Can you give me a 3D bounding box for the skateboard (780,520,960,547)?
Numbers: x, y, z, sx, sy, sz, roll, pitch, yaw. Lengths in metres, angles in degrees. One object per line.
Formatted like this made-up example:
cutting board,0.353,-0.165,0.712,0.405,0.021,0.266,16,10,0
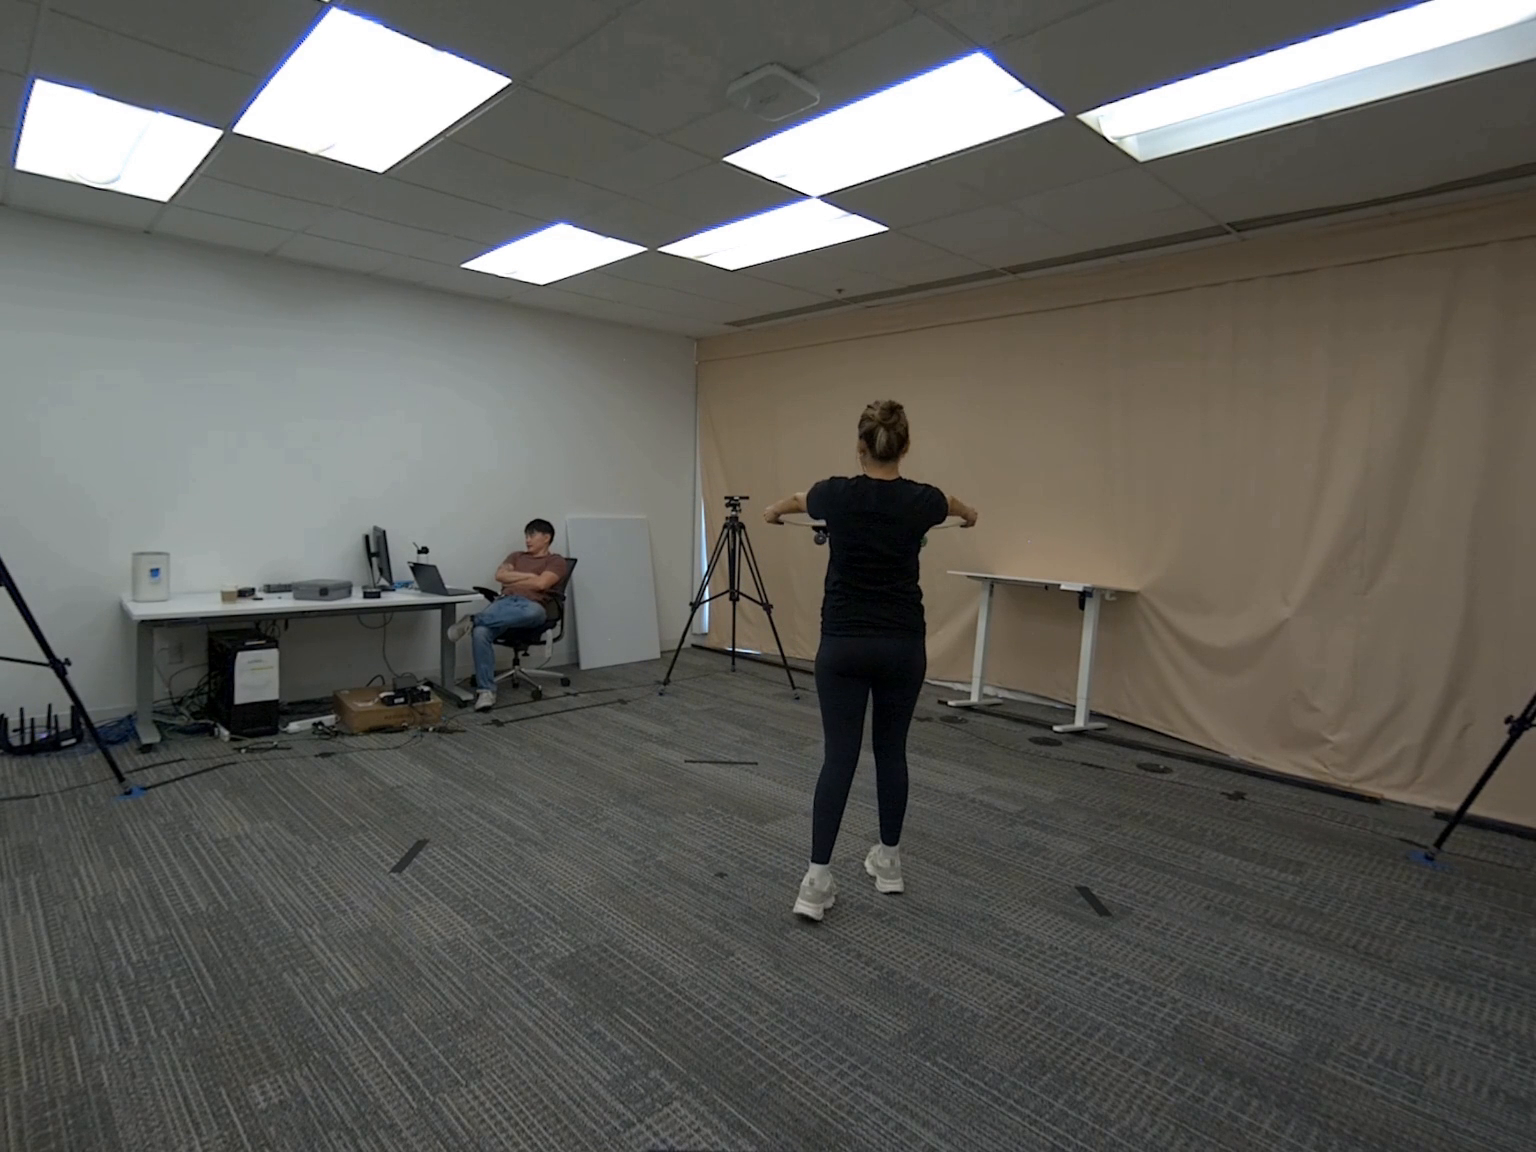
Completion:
skateboard,0.411,-0.173,3.450,0.787,0.110,0.193,1,-1,2
